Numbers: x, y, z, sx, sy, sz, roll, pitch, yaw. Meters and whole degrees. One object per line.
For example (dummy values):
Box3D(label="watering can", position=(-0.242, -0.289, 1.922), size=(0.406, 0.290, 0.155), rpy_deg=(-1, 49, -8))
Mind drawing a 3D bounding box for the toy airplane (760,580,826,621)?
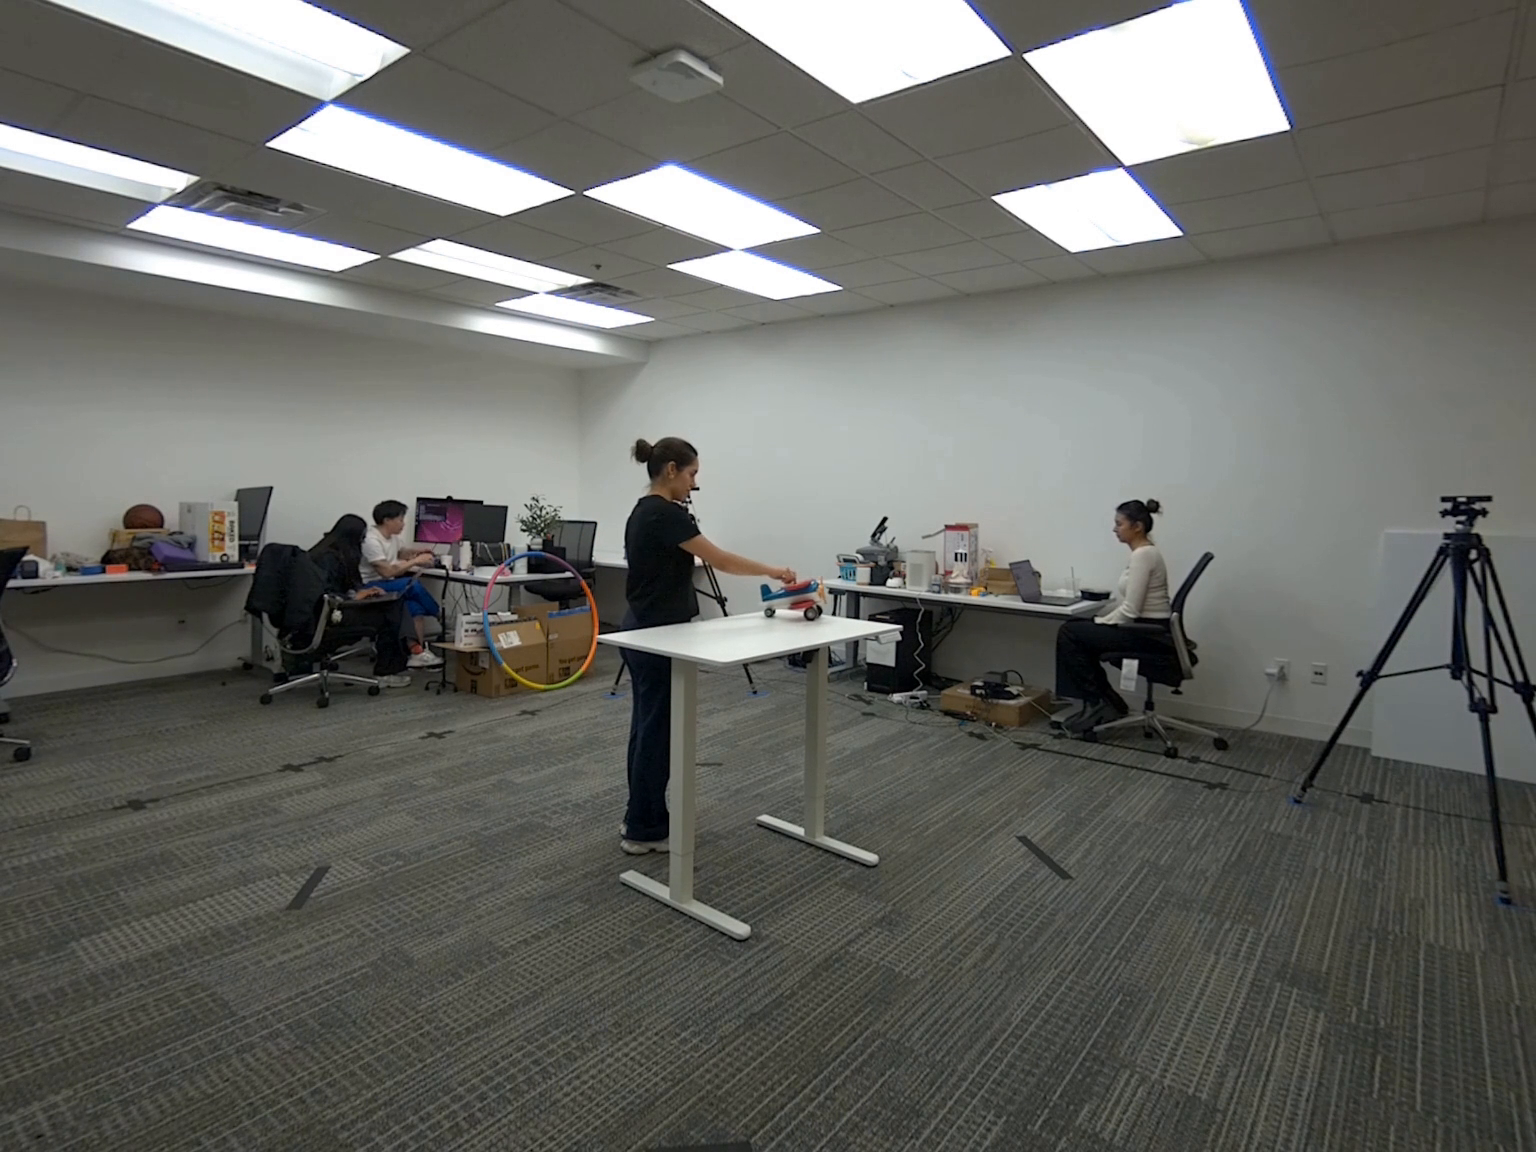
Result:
Box3D(label="toy airplane", position=(0.109, 0.088, 3.351), size=(0.256, 0.156, 0.255), rpy_deg=(1, 6, -12))
